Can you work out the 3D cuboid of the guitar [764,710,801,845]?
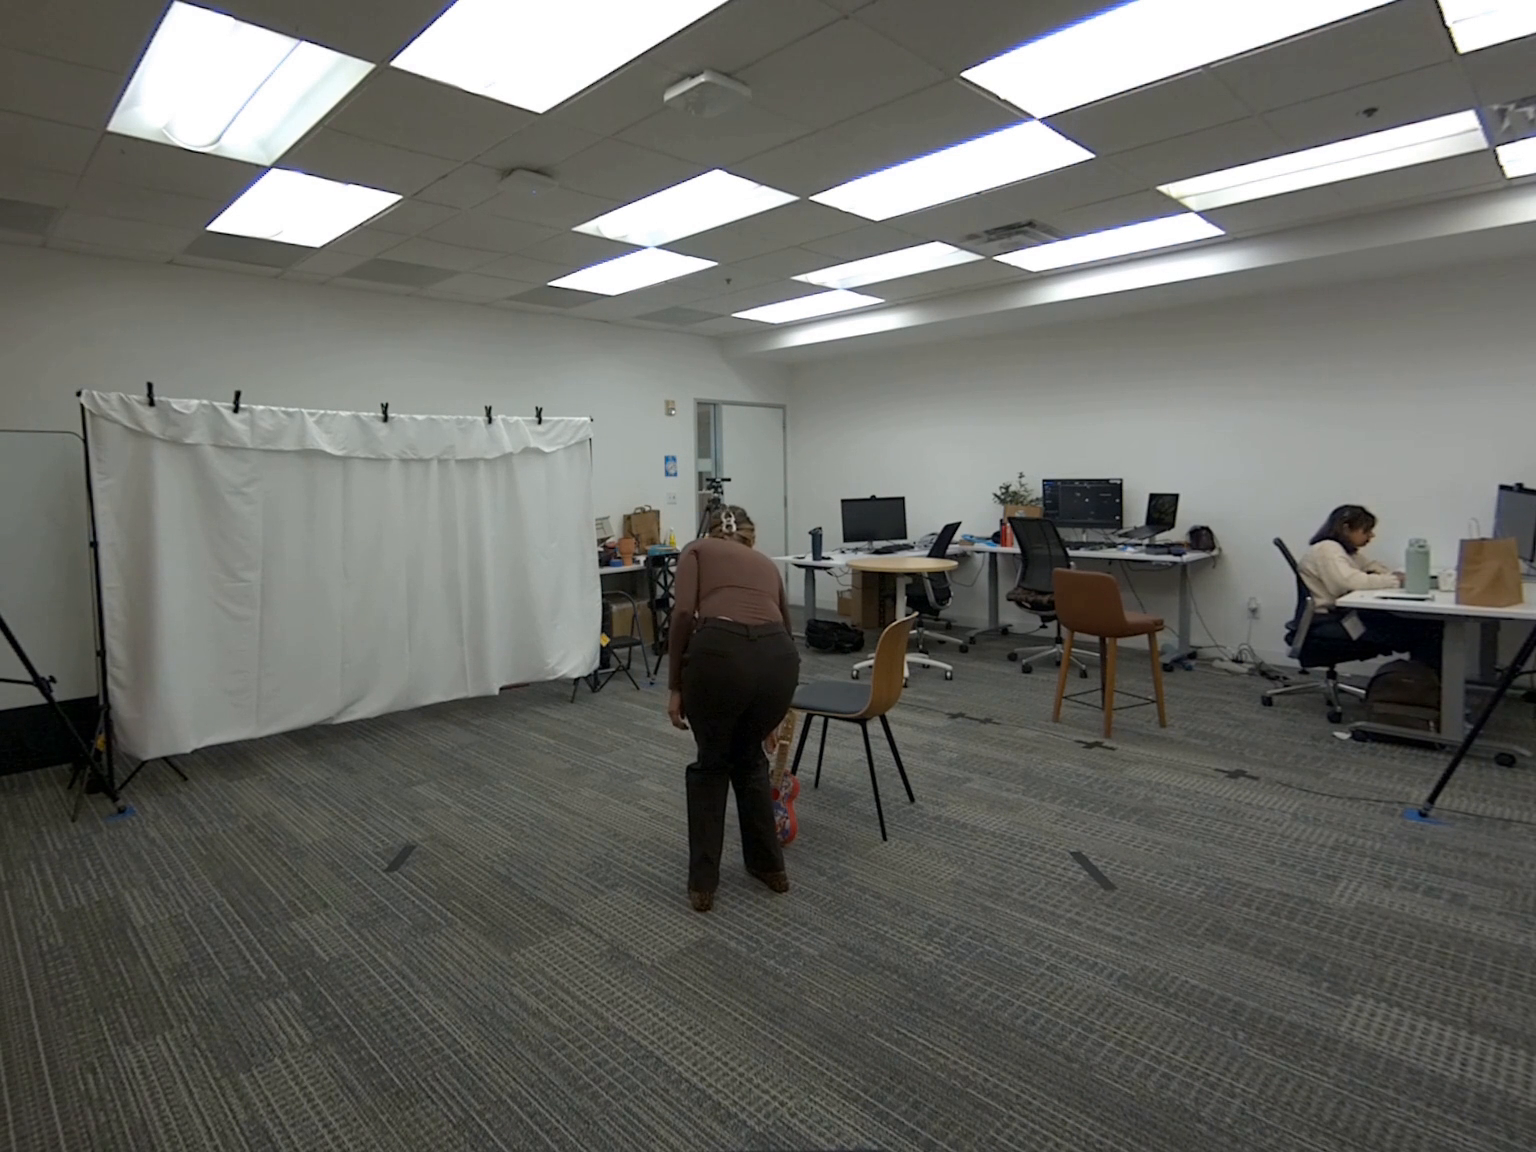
[{"bbox_3d":[0.070,0.788,3.312,0.199,0.502,0.068,9,-17,31],"label":"guitar"}]
